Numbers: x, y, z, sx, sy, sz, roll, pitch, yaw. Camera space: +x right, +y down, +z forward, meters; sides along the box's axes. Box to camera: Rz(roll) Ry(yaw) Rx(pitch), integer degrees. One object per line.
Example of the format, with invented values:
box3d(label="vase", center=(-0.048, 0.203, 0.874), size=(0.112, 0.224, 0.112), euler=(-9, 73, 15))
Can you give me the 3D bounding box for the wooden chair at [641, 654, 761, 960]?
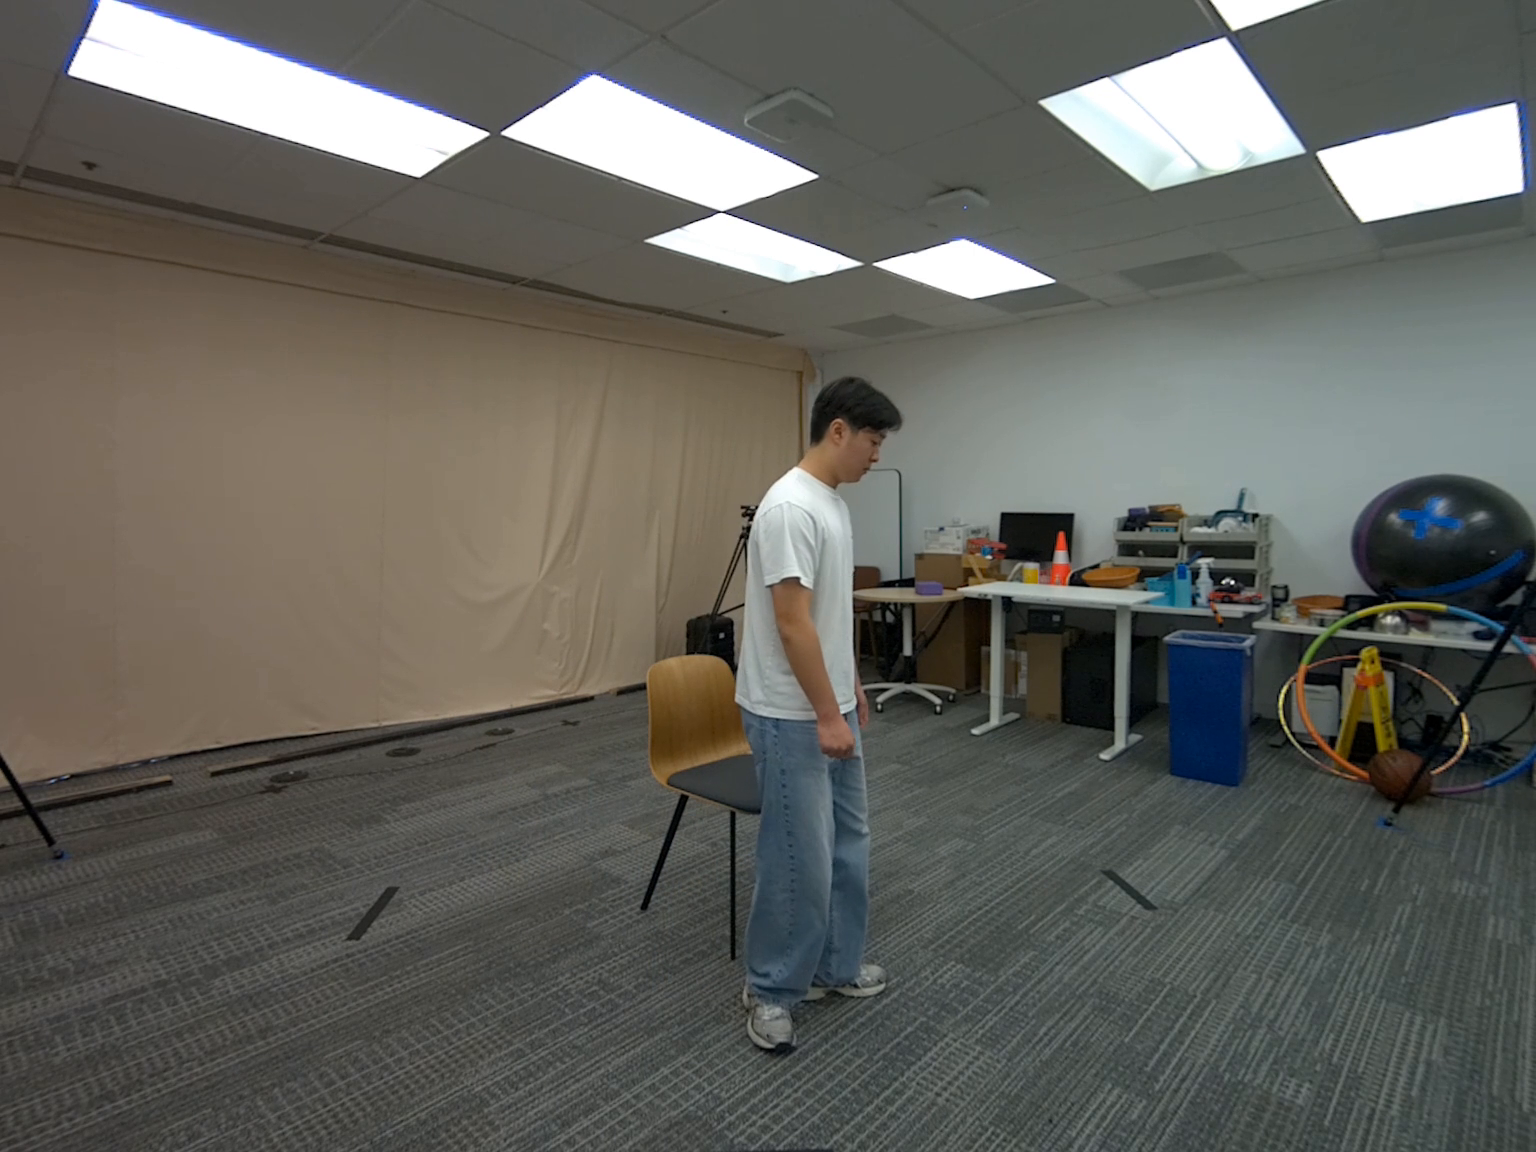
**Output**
box3d(label="wooden chair", center=(-0.118, 0.729, 2.860), size=(0.539, 0.877, 0.463), euler=(-3, 0, 44))
